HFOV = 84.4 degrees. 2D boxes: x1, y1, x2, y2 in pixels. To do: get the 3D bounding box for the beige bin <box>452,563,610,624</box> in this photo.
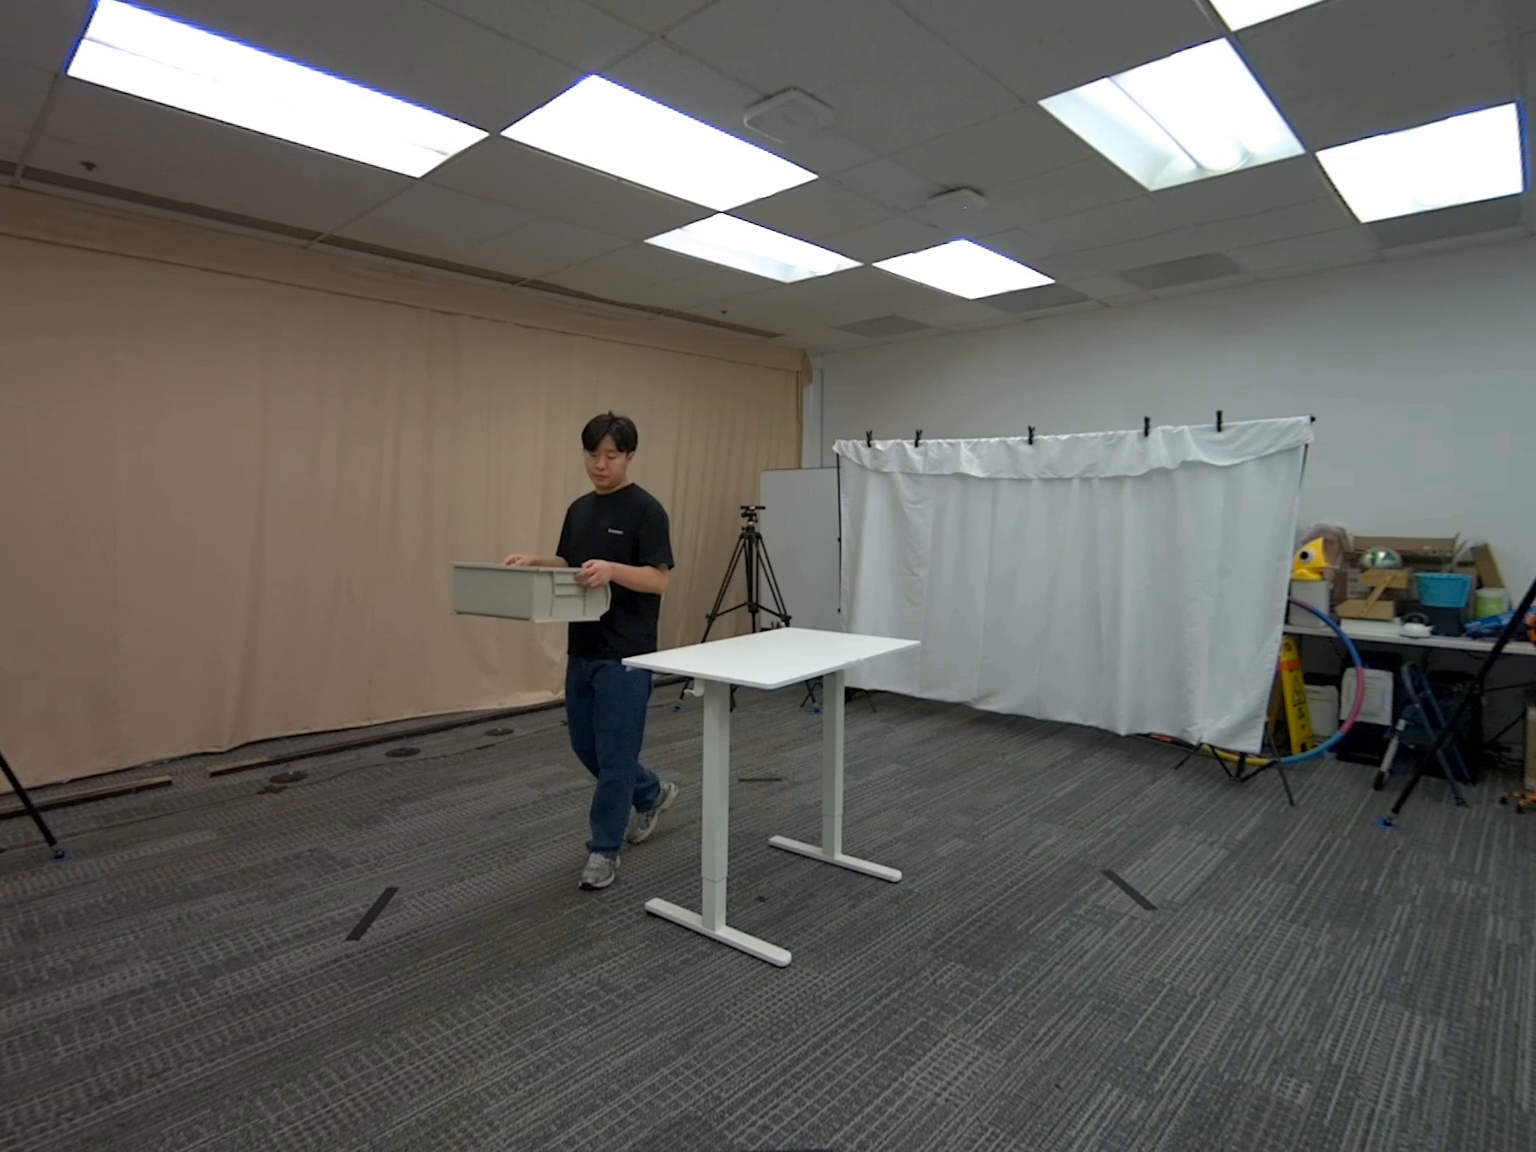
[{"bbox_3d":[-0.824,0.057,2.928,0.435,0.189,0.366,3,2,31],"label":"beige bin"}]
